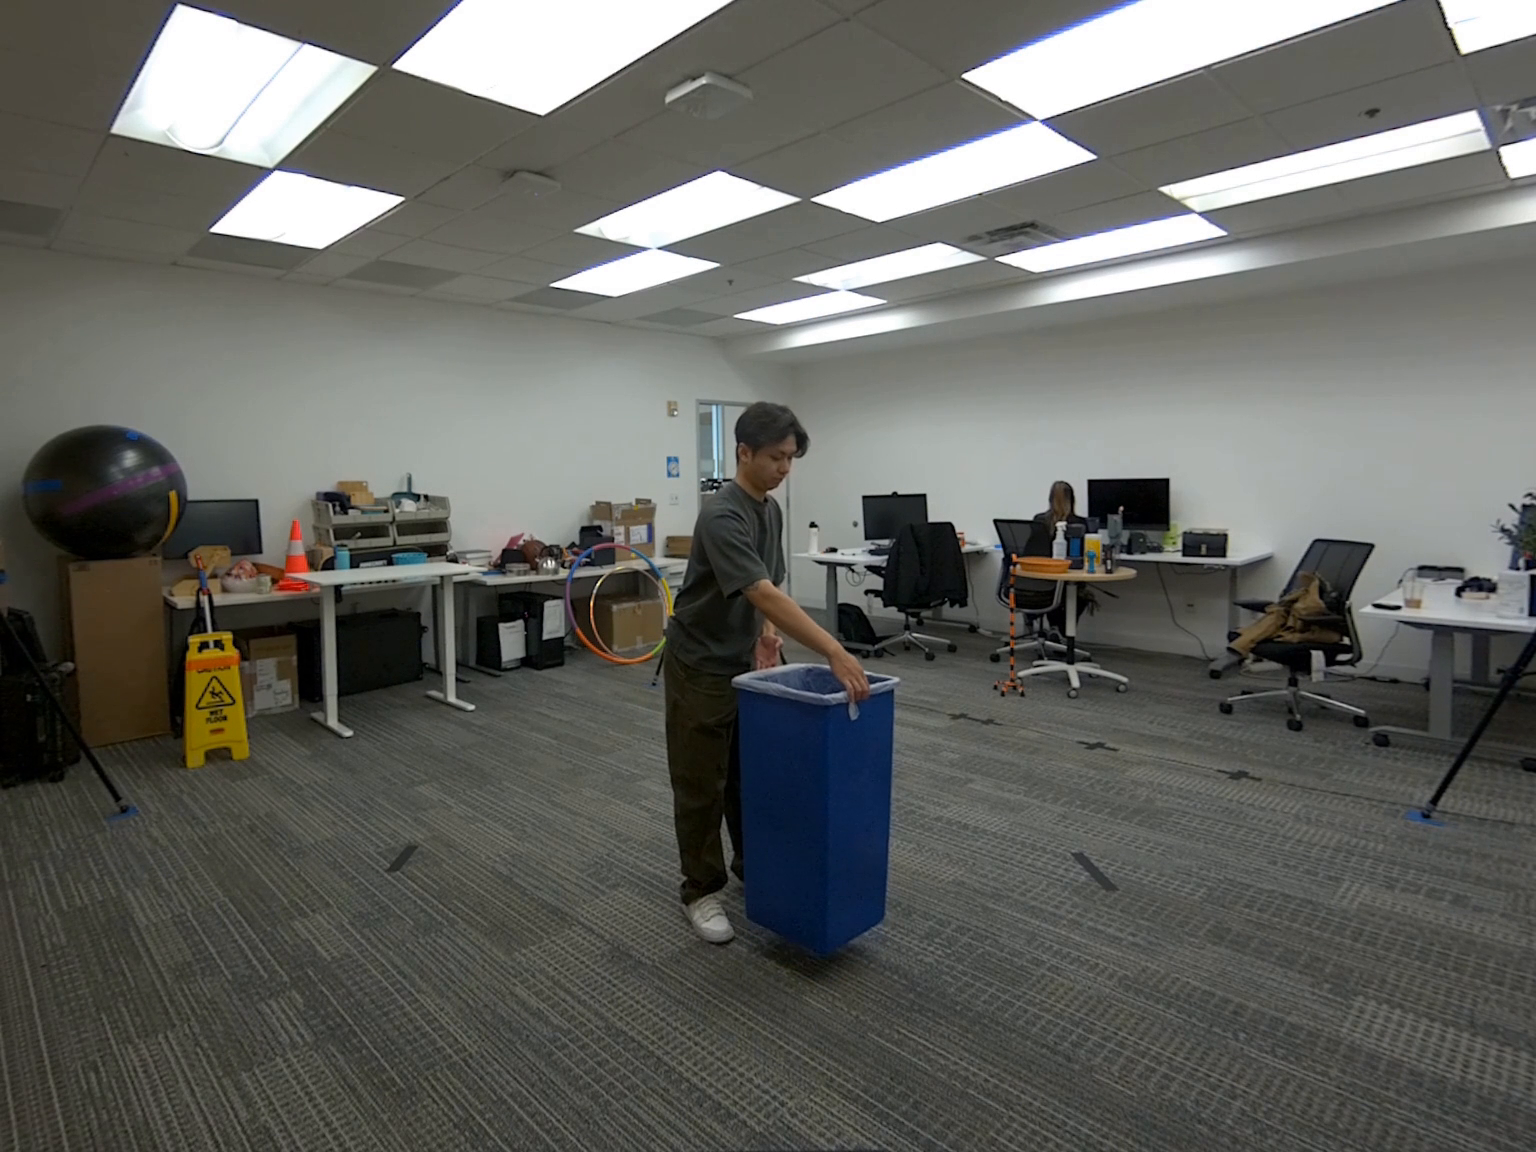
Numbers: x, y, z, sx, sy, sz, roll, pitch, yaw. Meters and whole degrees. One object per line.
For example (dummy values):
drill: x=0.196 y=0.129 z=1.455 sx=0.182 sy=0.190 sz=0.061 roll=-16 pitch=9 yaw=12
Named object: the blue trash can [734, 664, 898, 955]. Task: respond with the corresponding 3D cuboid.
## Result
blue trash can: x=0.138 y=0.658 z=2.512 sx=0.385 sy=0.712 sz=0.367 roll=3 pitch=4 yaw=43
